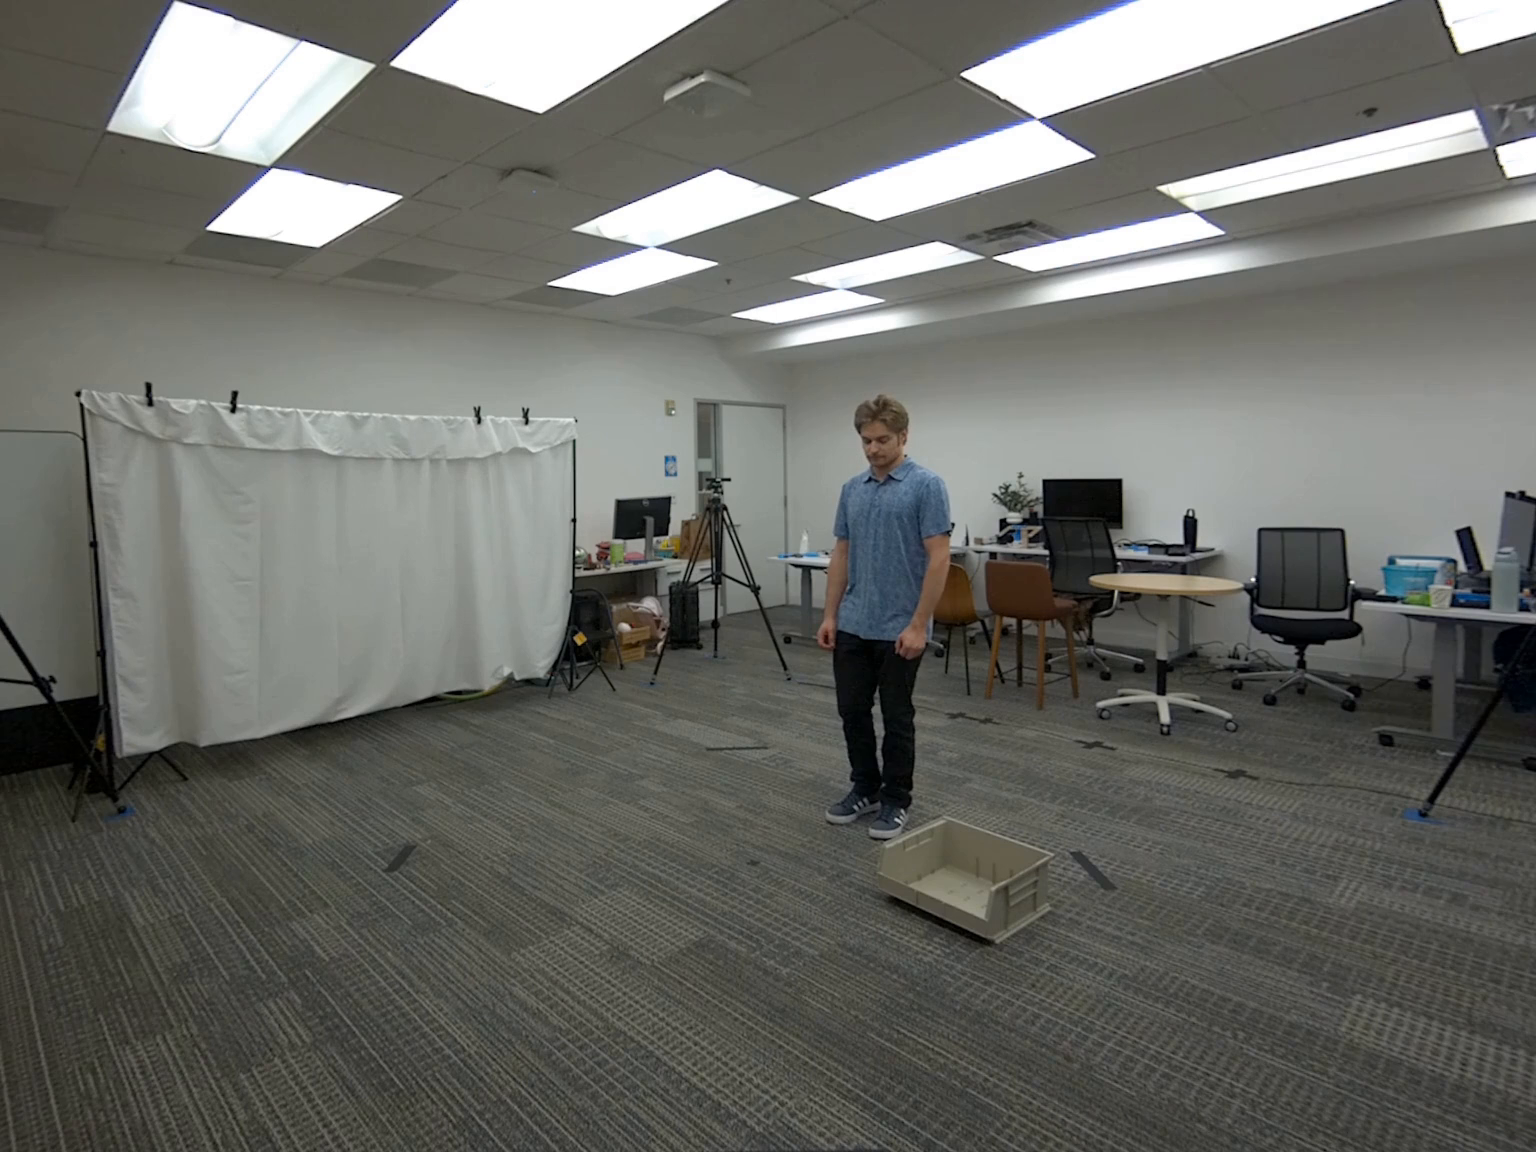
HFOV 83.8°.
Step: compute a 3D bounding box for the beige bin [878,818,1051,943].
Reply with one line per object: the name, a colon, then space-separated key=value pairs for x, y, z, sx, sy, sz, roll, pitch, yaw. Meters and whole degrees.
beige bin: x=0.639 y=0.982 z=2.774 sx=0.367 sy=0.188 sz=0.435 roll=-5 pitch=6 yaw=-42
